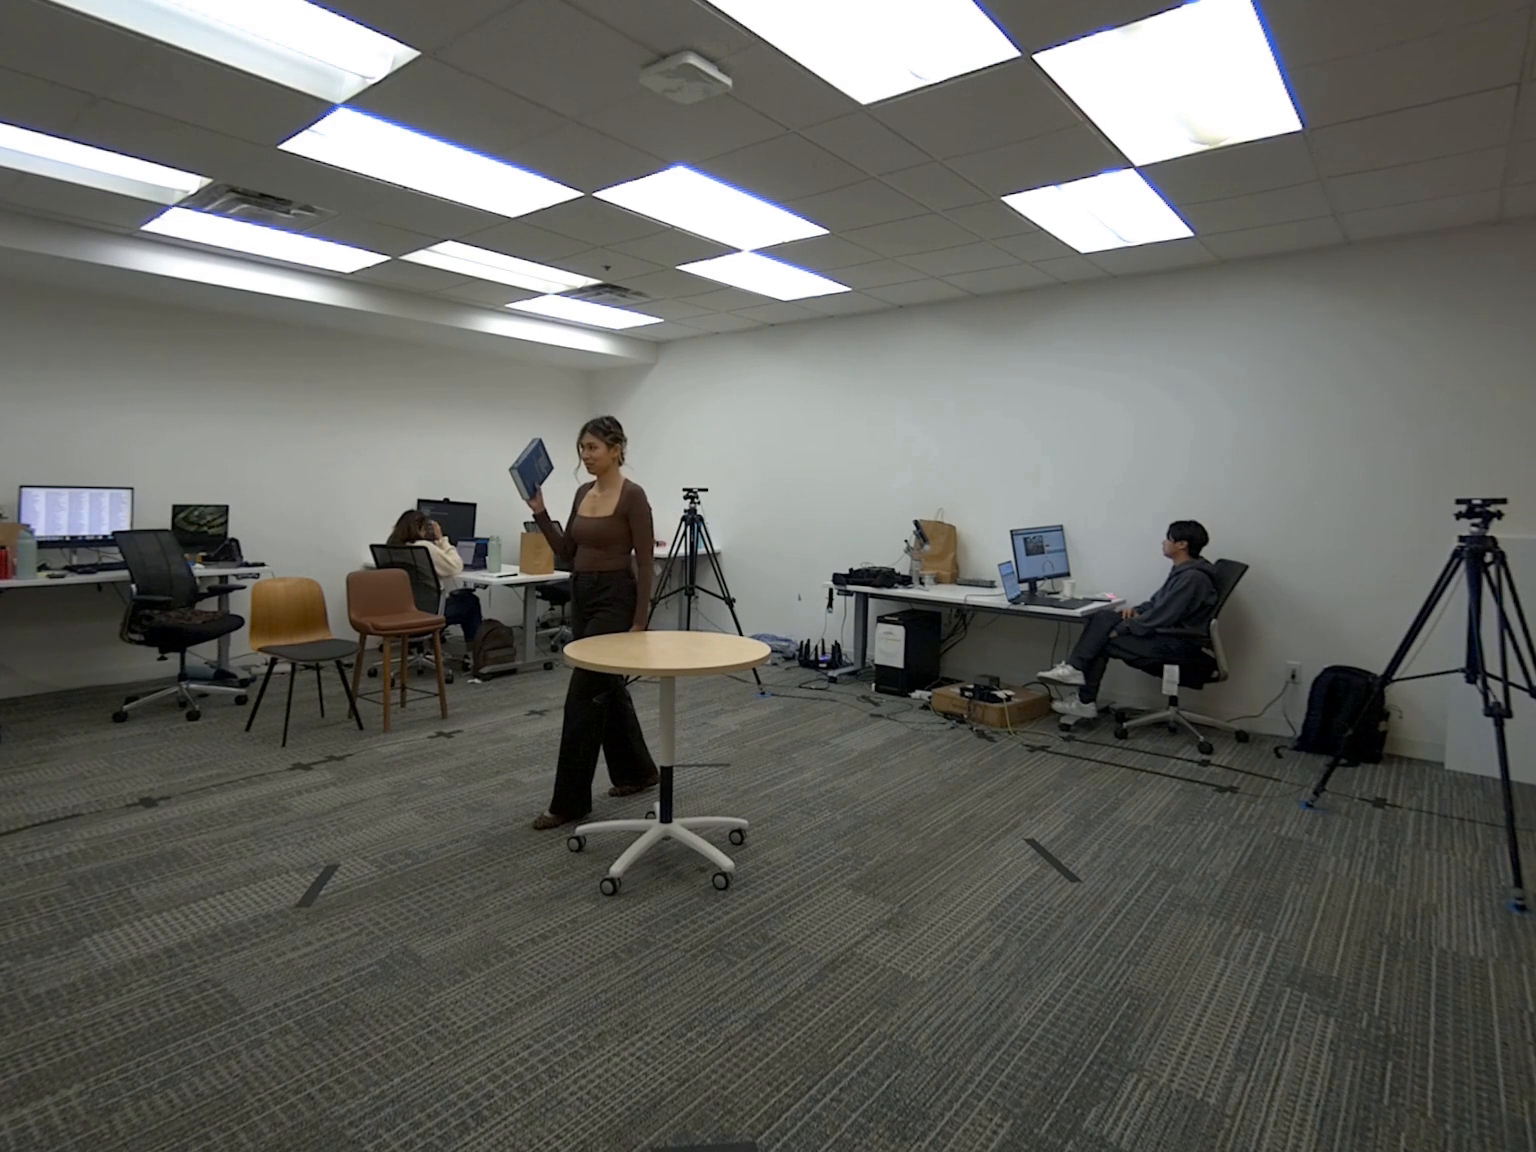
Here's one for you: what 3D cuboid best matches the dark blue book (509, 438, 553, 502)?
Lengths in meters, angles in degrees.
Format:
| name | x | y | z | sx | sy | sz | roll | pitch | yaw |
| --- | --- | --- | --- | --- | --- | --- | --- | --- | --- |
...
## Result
| name | x | y | z | sx | sy | sz | roll | pitch | yaw |
| --- | --- | --- | --- | --- | --- | --- | --- | --- | --- |
| dark blue book | -1.037 | -0.475 | 3.694 | 0.046 | 0.158 | 0.249 | -3 | 39 | 18 |
